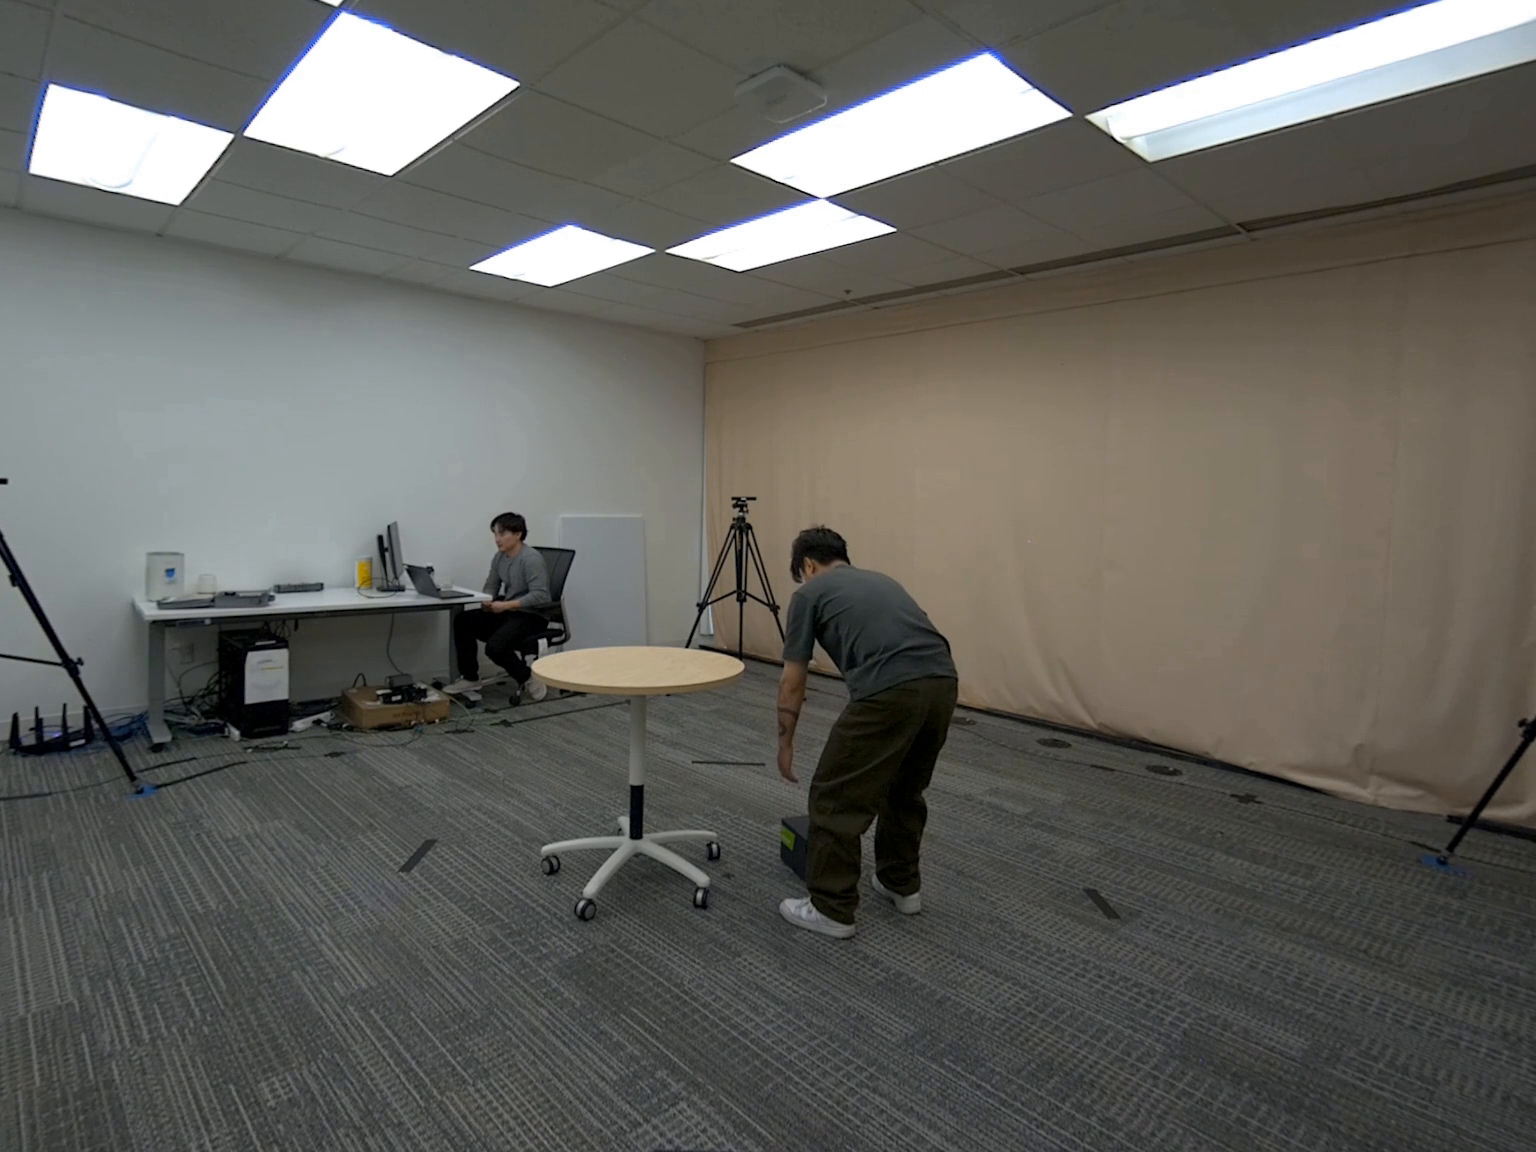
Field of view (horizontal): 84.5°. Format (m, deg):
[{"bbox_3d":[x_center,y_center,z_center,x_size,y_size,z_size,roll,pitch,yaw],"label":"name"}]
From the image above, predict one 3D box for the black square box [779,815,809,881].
[{"bbox_3d":[0.184,1.024,3.202,0.213,0.155,0.232,-1,4,-23],"label":"black square box"}]
